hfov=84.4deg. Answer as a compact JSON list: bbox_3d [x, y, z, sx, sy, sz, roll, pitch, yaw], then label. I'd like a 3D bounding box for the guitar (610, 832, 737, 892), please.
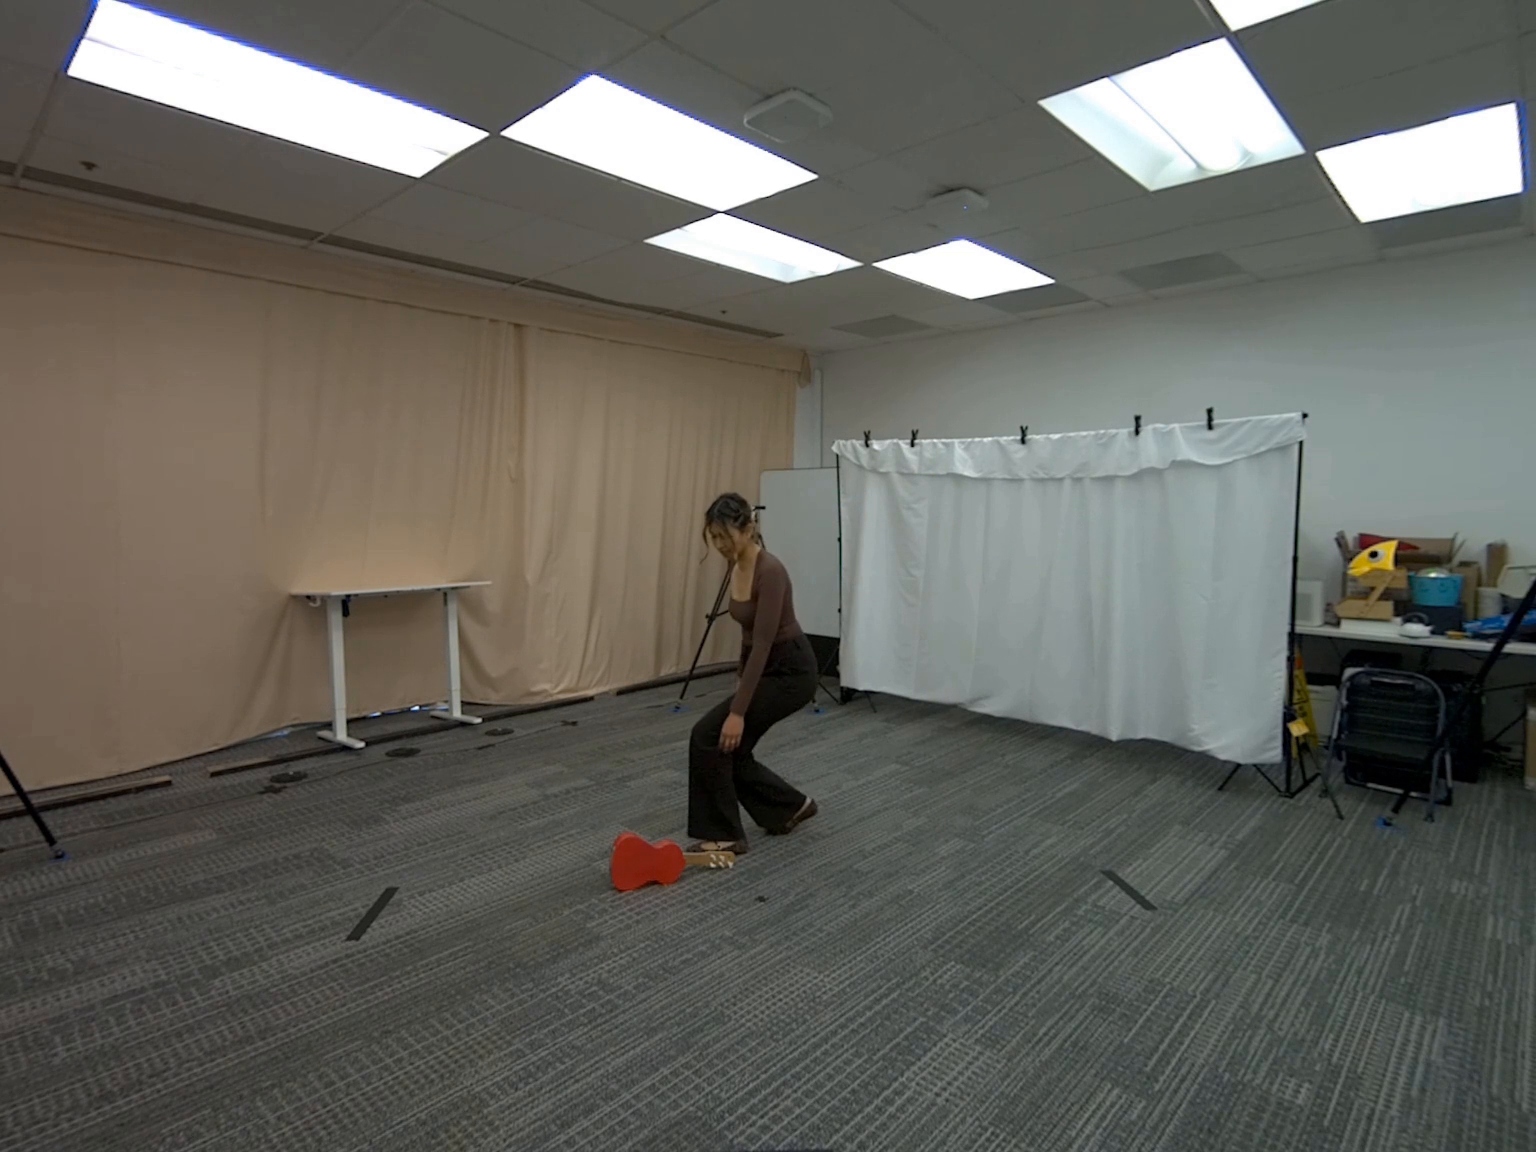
[{"bbox_3d":[-0.351,1.032,3.151,0.488,0.193,0.072,-1,-2,-20],"label":"guitar"}]
